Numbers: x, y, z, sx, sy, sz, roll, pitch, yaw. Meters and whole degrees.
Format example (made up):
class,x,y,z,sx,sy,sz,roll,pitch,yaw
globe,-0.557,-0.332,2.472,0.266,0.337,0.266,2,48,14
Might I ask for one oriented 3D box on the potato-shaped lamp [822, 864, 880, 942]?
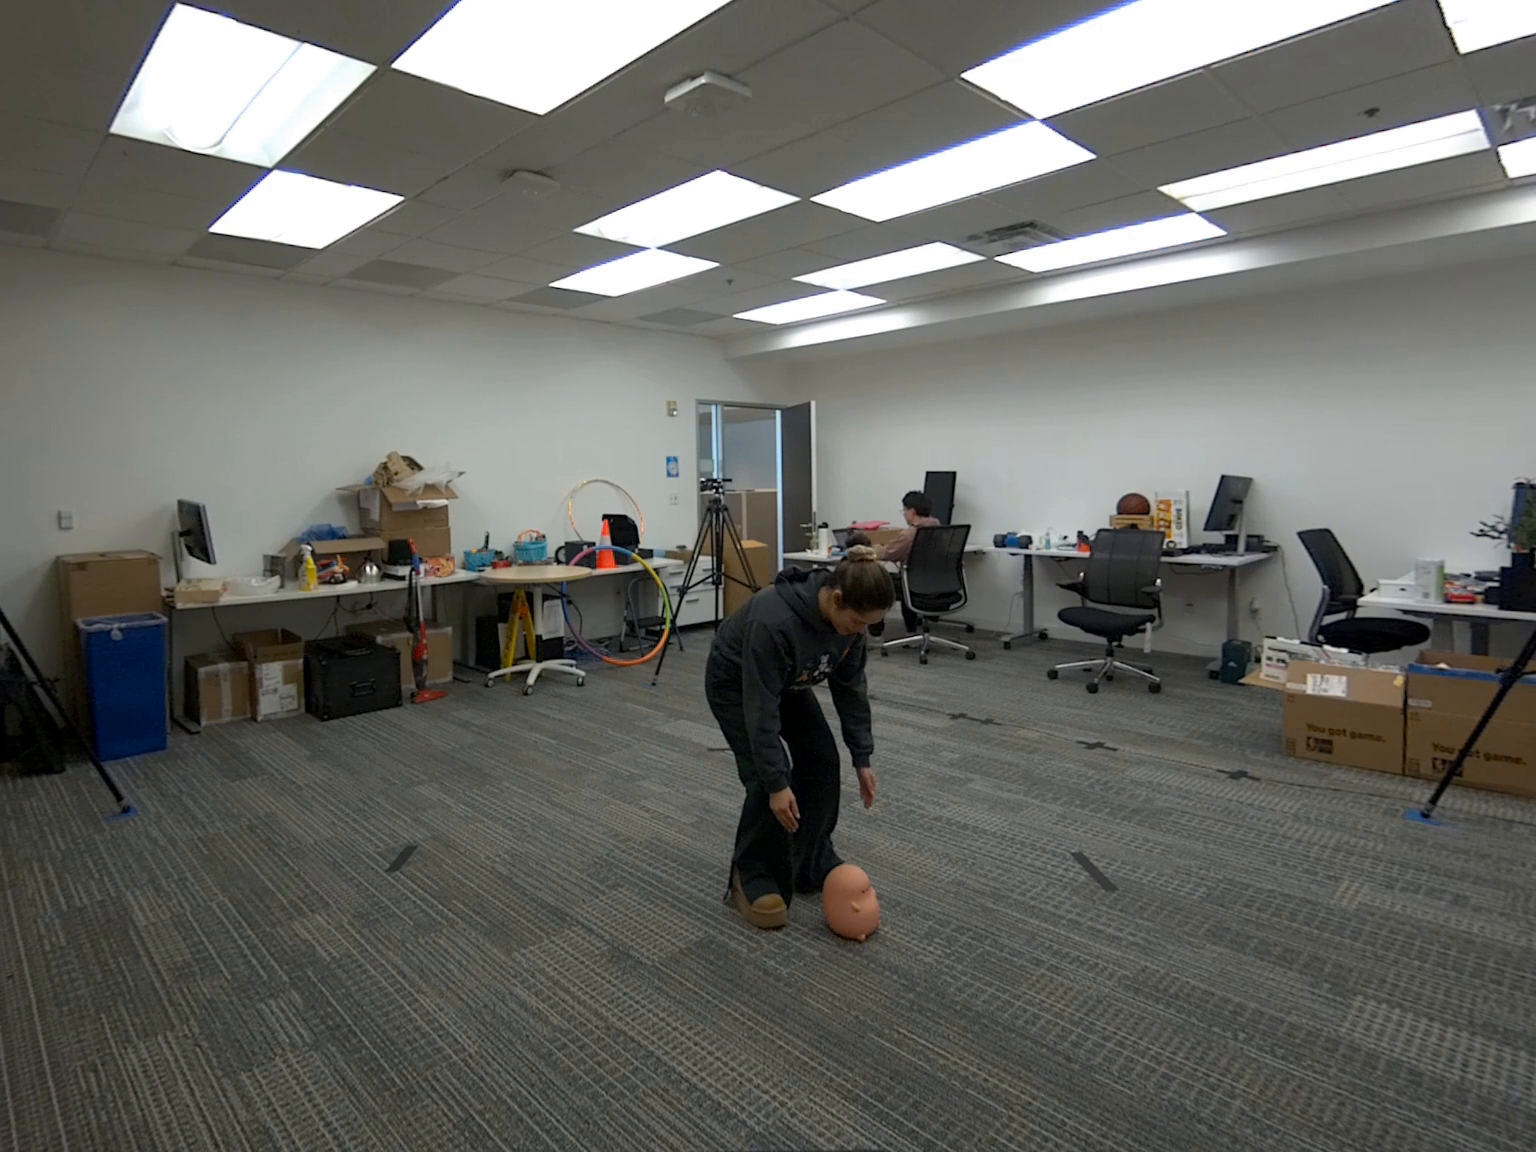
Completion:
class,x,y,z,sx,sy,sz,roll,pitch,yaw
potato-shaped lamp,0.262,0.994,2.624,0.176,0.197,0.161,0,5,37
